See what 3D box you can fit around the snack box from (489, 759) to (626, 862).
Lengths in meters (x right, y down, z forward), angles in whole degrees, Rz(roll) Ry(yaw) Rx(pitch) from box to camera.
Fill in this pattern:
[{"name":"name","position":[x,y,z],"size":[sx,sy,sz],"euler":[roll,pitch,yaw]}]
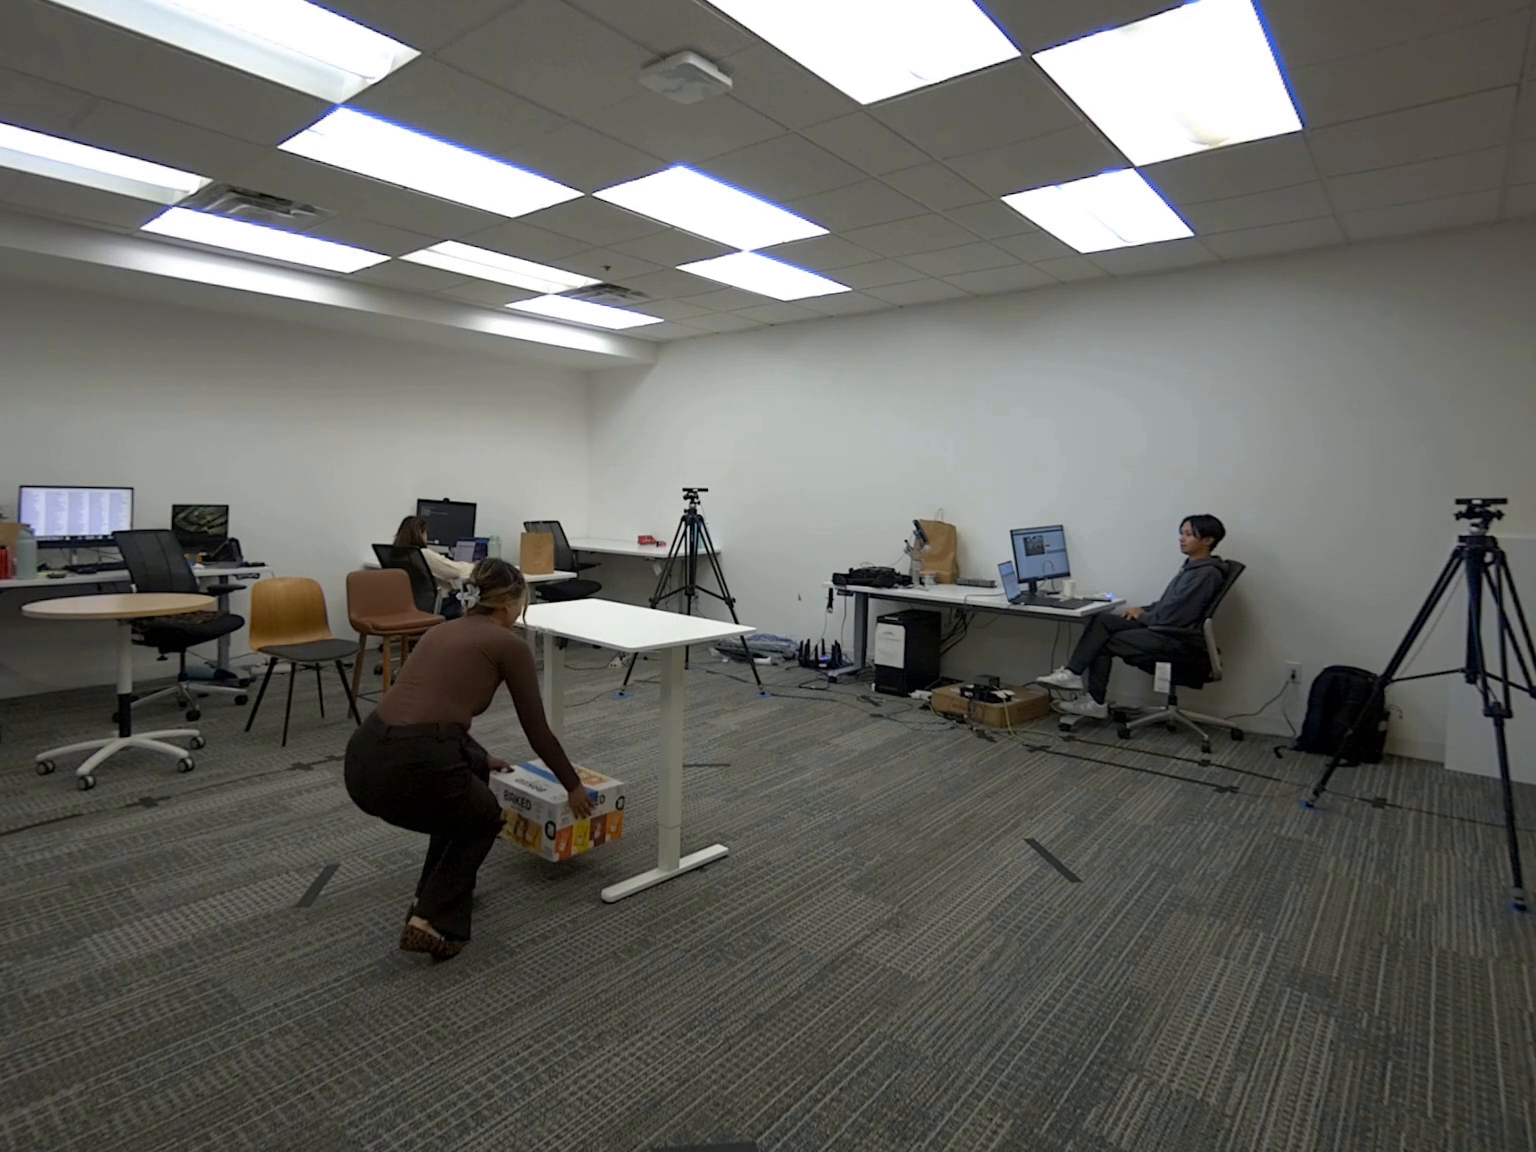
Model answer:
[{"name":"snack box","position":[-0.811,0.842,3.134],"size":[0.419,0.205,0.330],"euler":[8,5,35]}]
